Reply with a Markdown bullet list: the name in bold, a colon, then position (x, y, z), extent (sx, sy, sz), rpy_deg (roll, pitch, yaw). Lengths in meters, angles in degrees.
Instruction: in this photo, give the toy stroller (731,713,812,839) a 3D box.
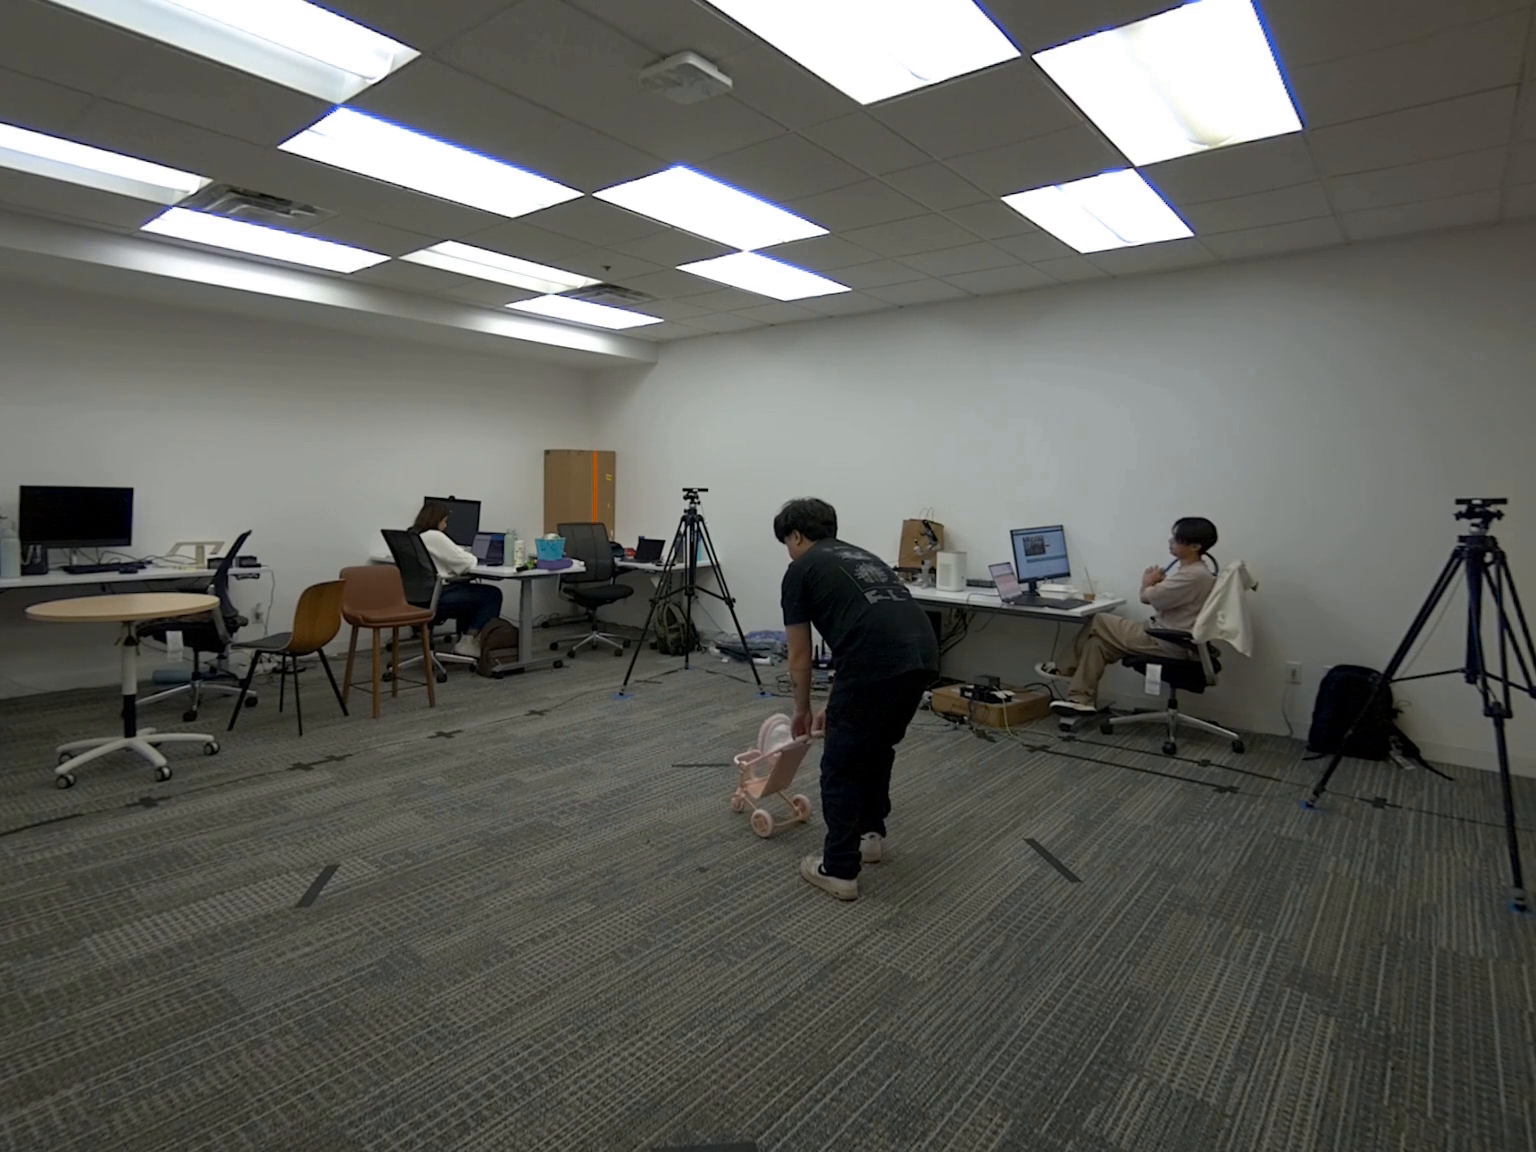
- **toy stroller**: position (0.007, 0.805, 3.538), extent (0.273, 0.529, 0.356), rpy_deg (-1, 20, -43)
